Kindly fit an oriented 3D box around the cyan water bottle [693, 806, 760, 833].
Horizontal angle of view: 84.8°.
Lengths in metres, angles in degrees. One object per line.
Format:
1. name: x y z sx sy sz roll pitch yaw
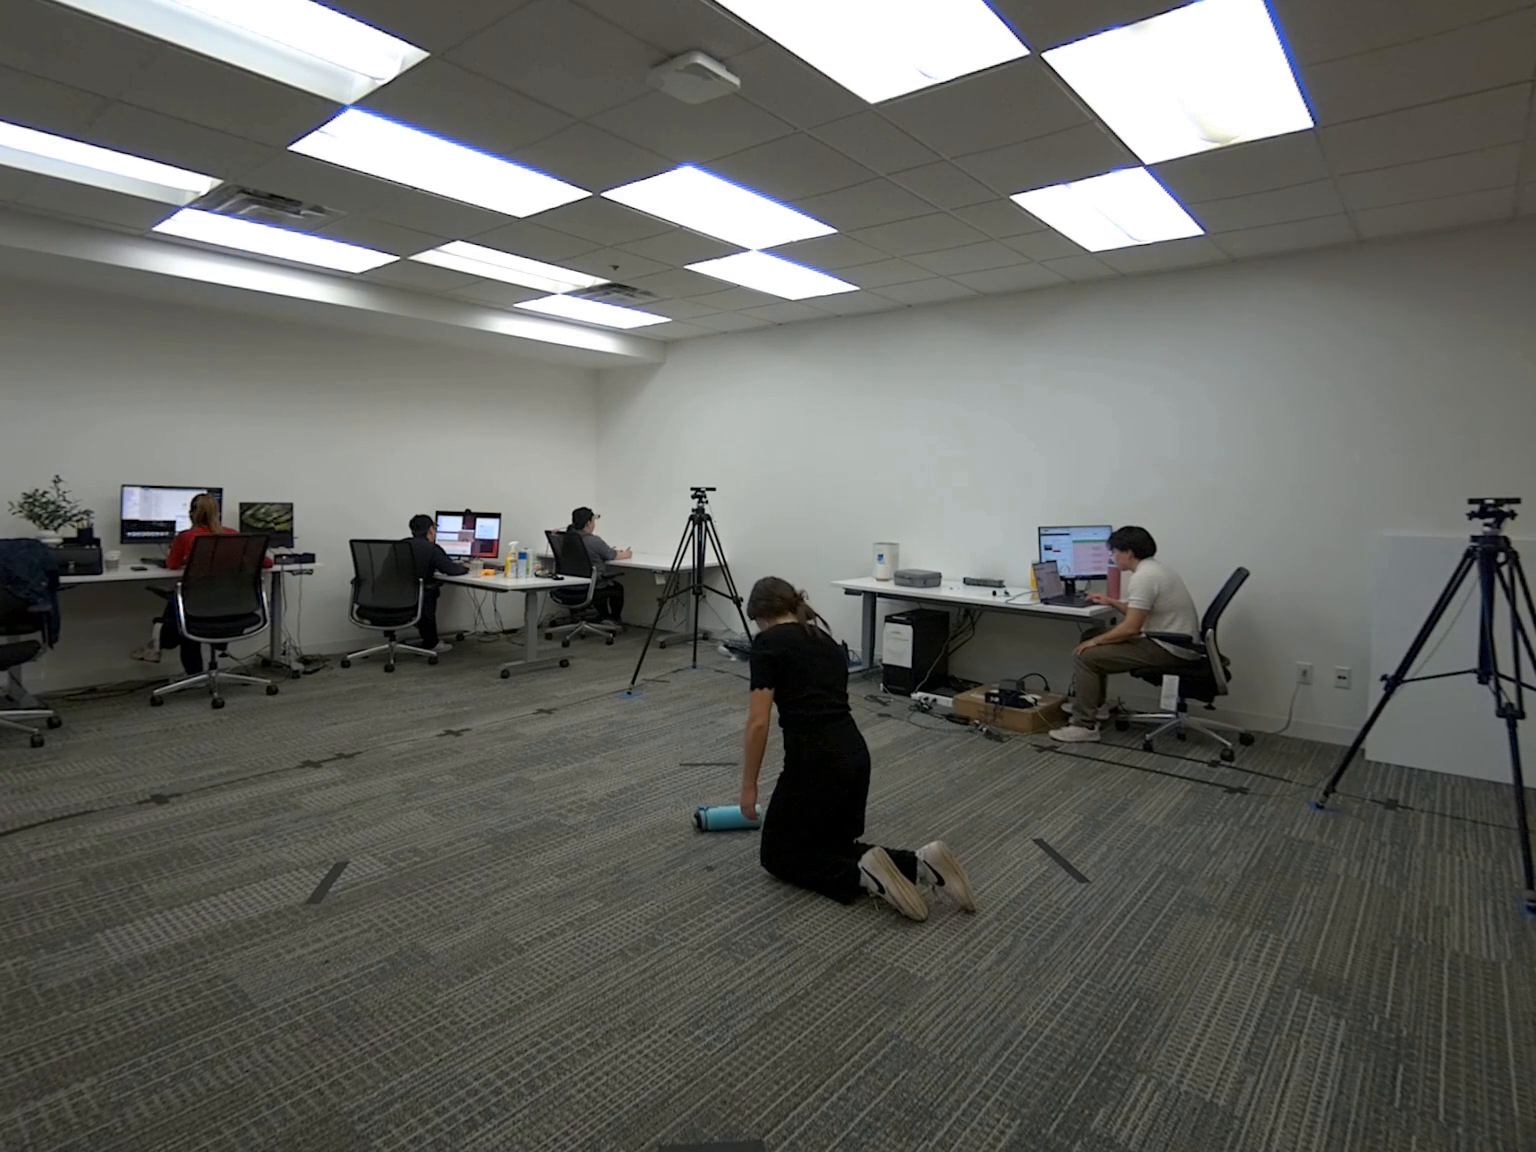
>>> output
1. cyan water bottle: -0.180 0.984 3.476 0.280 0.092 0.093 1 4 -9
